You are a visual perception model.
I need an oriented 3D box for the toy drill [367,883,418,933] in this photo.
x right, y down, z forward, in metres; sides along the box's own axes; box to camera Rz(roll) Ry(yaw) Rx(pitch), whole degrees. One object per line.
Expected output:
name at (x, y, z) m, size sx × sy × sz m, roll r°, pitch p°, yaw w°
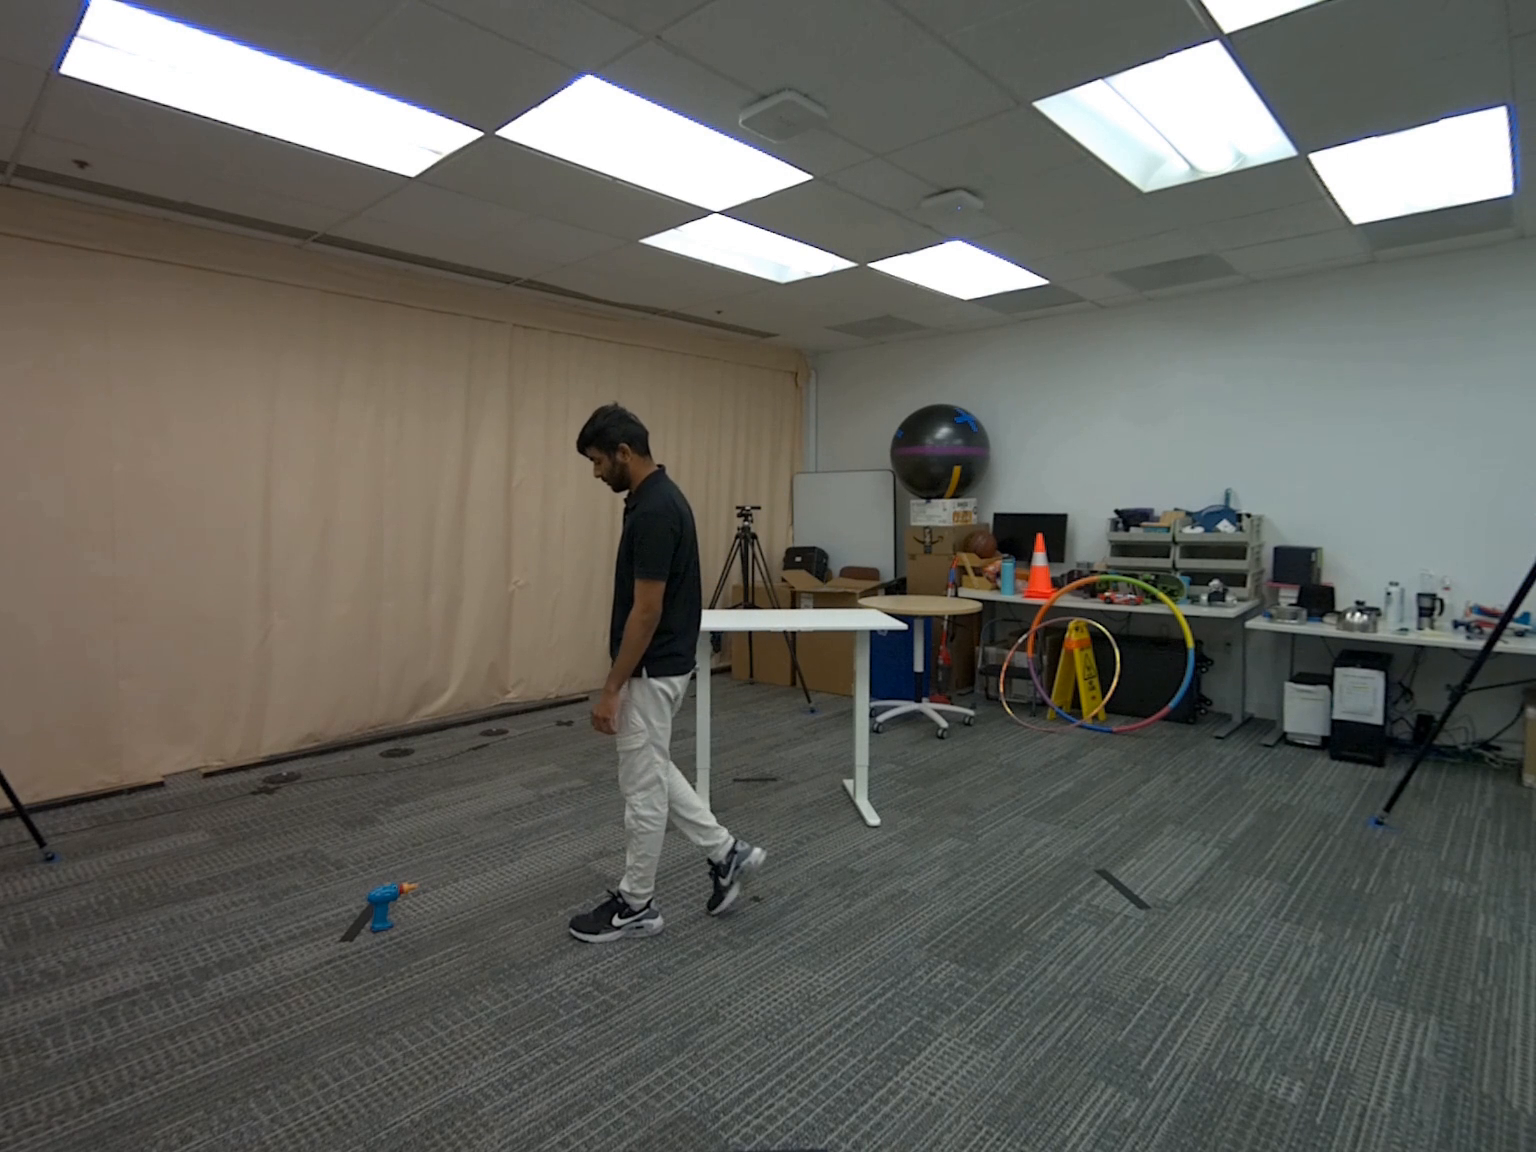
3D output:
toy drill at (-1.262, 1.103, 2.809) m, size 0.165 × 0.145 × 0.063 m, roll -6°, pitch 8°, yaw -40°
